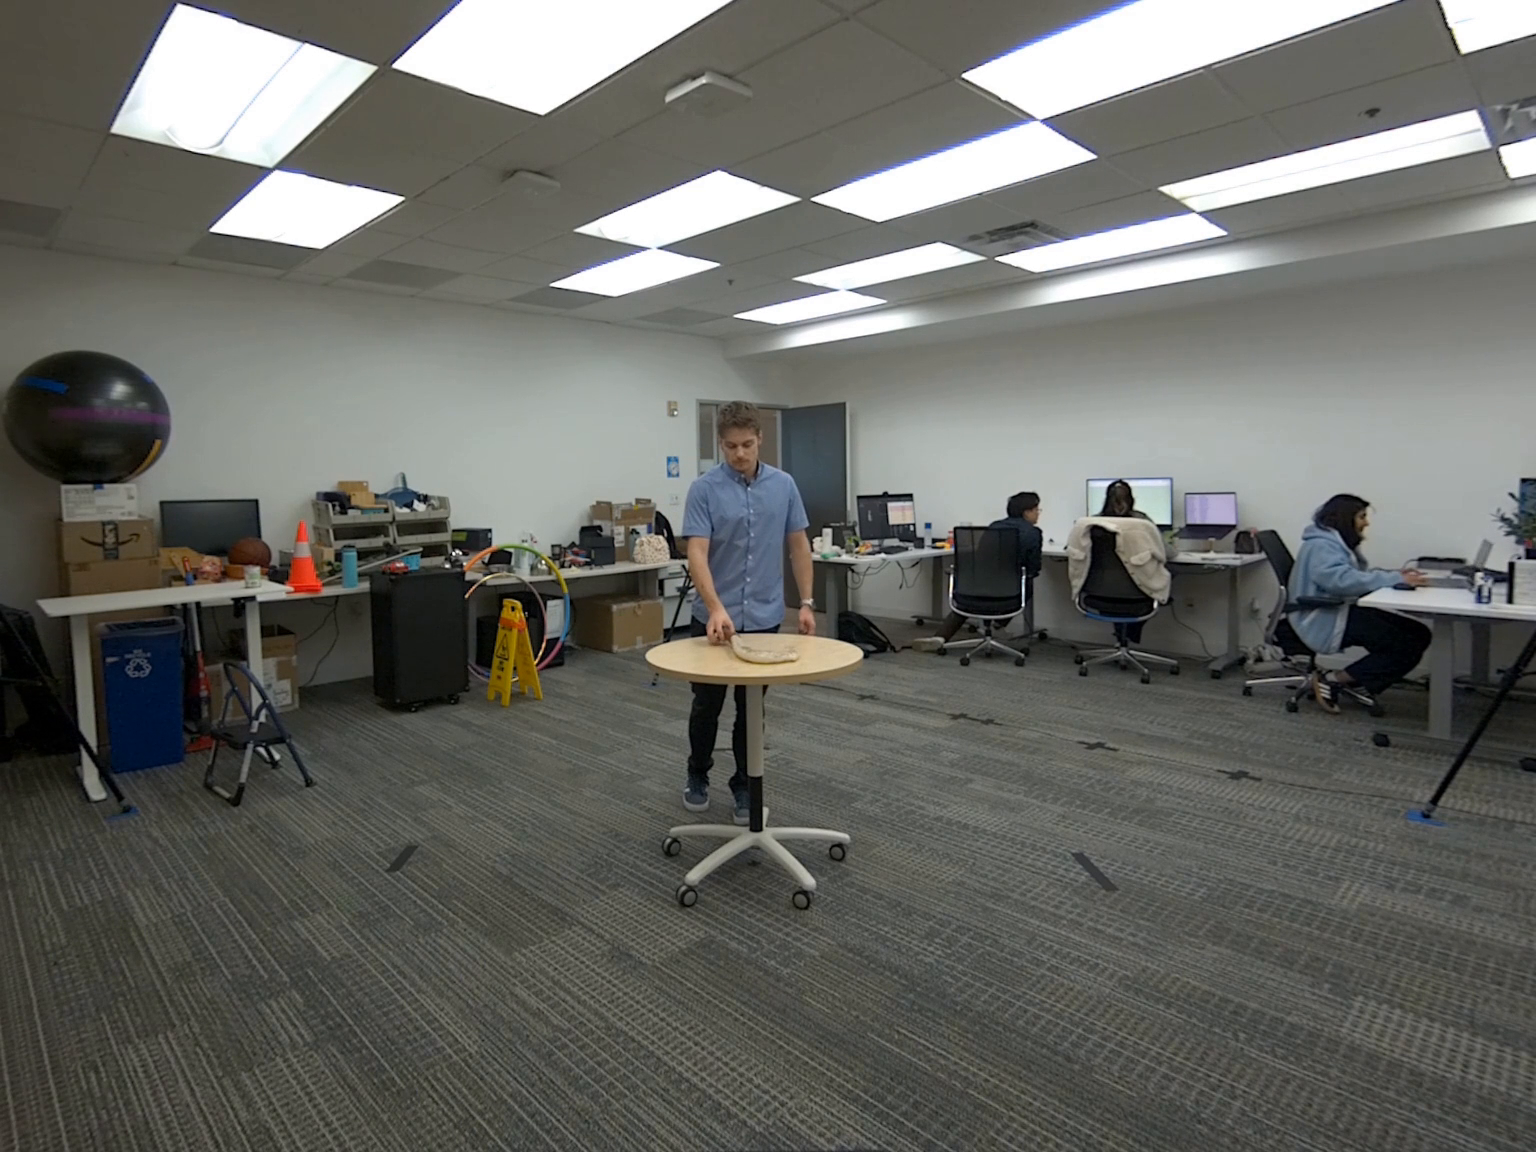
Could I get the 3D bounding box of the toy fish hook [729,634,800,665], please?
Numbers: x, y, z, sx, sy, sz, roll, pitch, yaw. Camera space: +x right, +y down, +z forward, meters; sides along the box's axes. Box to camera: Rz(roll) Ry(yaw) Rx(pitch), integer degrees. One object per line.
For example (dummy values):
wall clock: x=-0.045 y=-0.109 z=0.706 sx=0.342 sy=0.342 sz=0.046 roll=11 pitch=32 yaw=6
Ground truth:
toy fish hook: x=-0.056 y=0.245 z=3.058 sx=0.220 sy=0.048 sz=0.519 roll=2 pitch=8 yaw=-21
